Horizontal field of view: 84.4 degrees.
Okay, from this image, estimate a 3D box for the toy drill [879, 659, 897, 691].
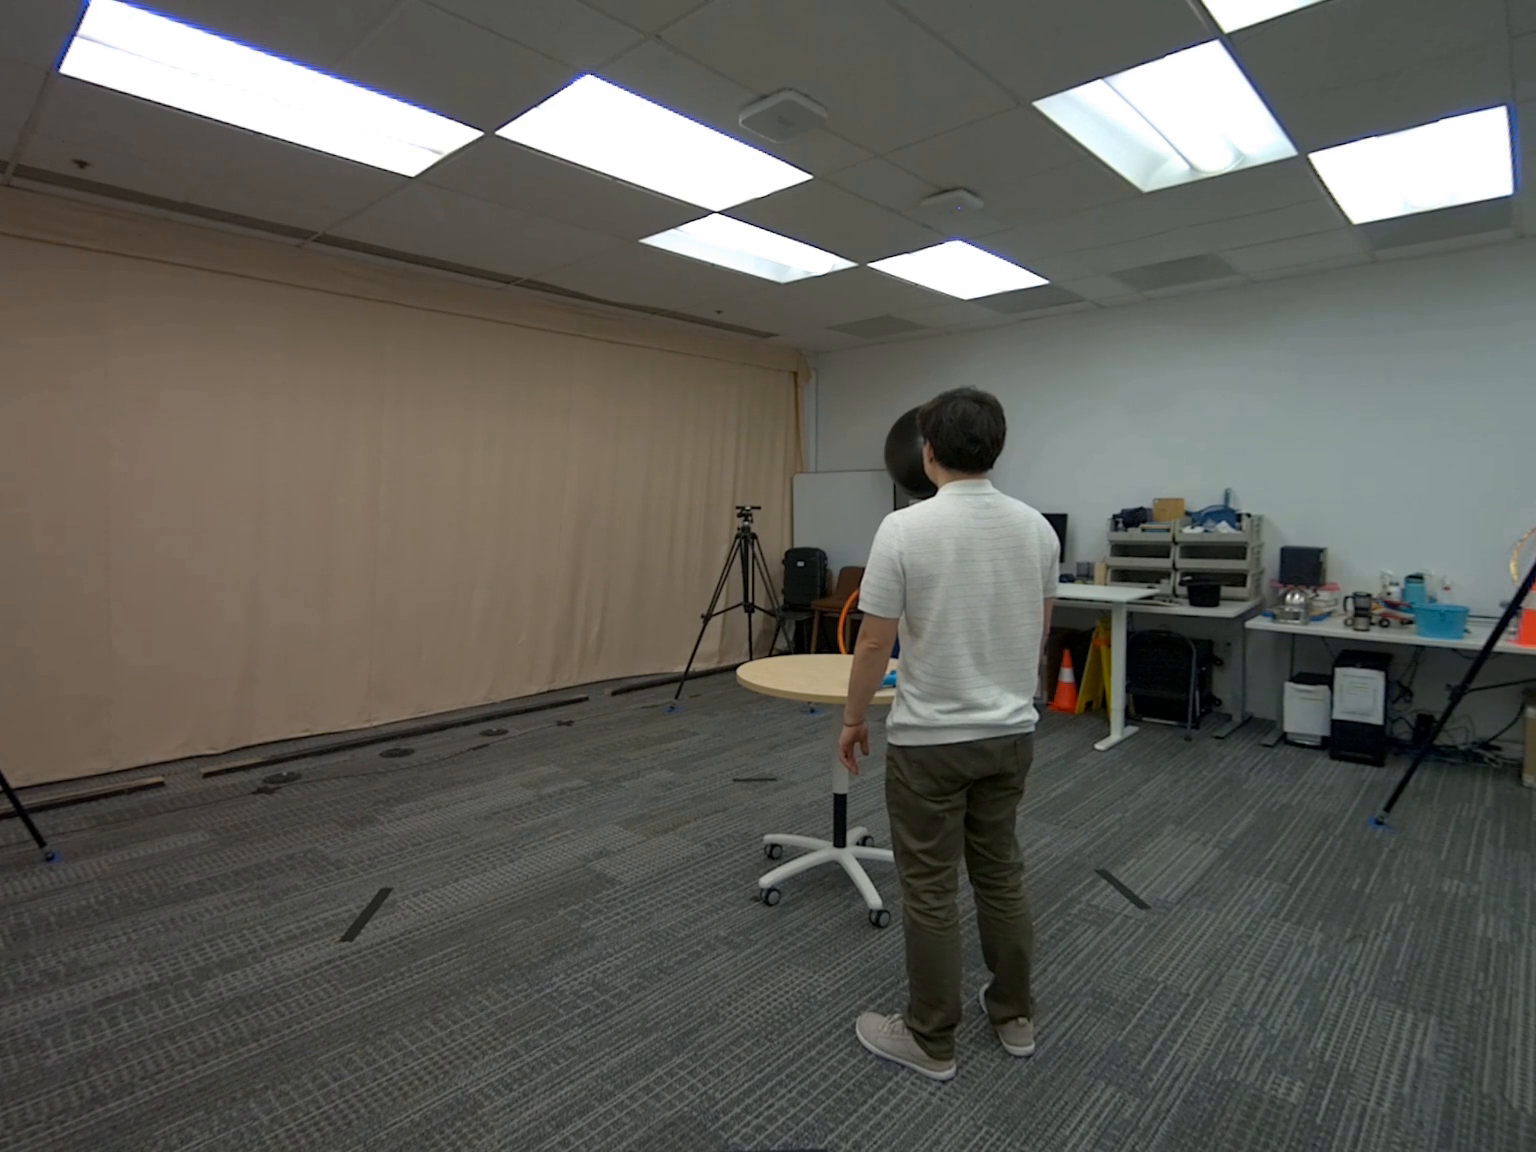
[{"bbox_3d":[0.365,0.342,2.831,0.142,0.061,0.175,1,9,-25],"label":"toy drill"}]
